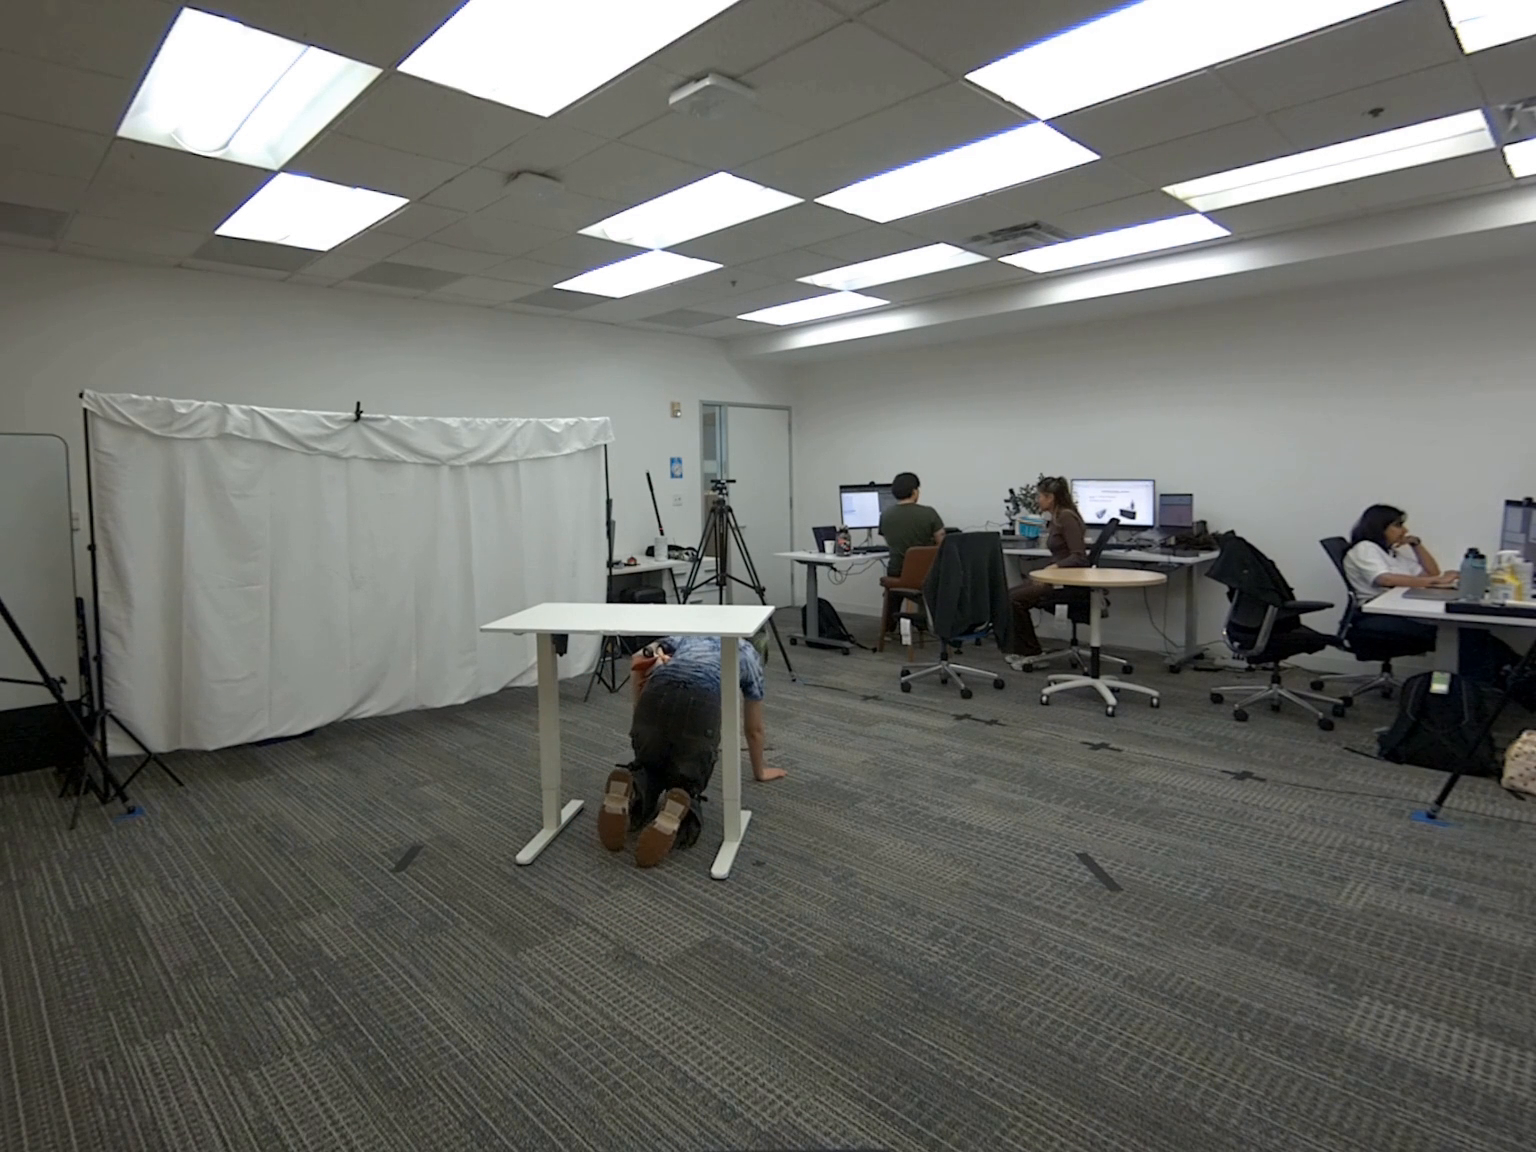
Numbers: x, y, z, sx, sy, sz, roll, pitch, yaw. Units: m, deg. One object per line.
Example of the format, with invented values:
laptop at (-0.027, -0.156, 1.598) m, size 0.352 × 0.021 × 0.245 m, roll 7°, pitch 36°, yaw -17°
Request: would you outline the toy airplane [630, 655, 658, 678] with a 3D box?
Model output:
toy airplane at (-0.495, 0.430, 3.861) m, size 0.249 × 0.161 × 0.253 m, roll -26°, pitch -29°, yaw -18°
